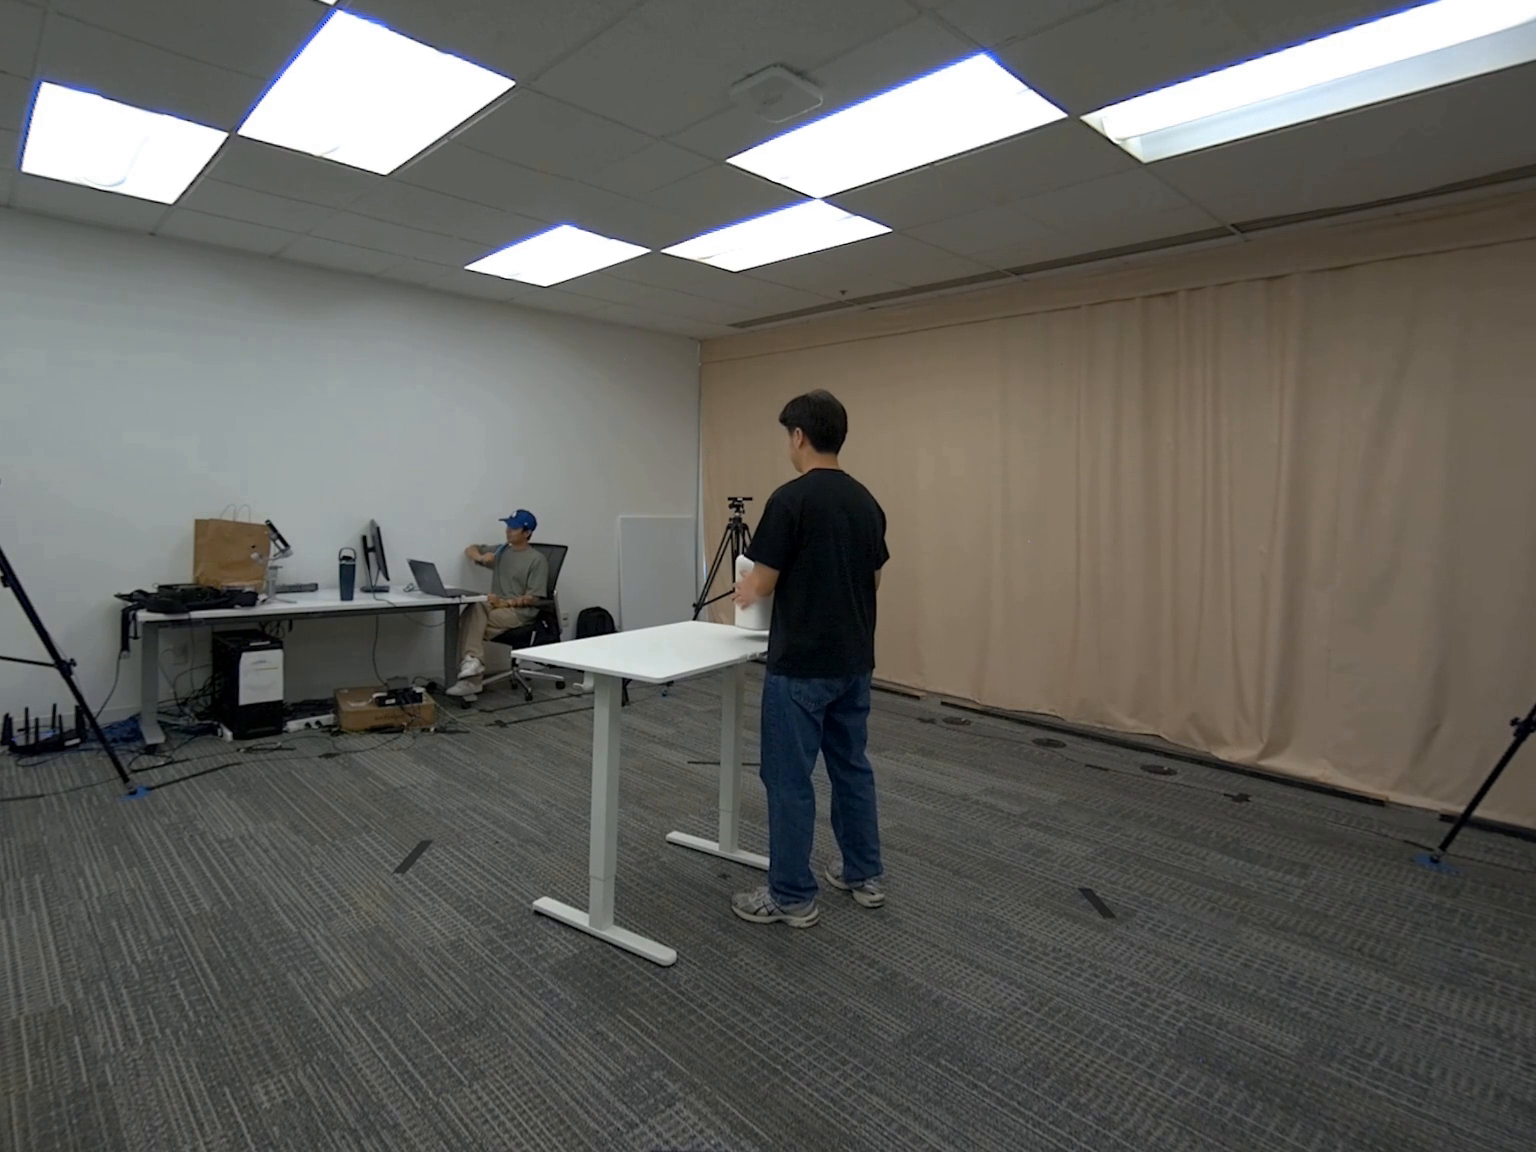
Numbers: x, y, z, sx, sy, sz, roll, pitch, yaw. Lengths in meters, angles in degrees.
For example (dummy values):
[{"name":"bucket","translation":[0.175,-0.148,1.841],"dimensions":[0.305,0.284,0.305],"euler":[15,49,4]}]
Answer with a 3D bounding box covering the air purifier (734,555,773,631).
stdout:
[{"name":"air purifier","translation":[-0.025,0.056,3.084],"dimensions":[0.167,0.264,0.176],"euler":[-4,6,-42]}]
